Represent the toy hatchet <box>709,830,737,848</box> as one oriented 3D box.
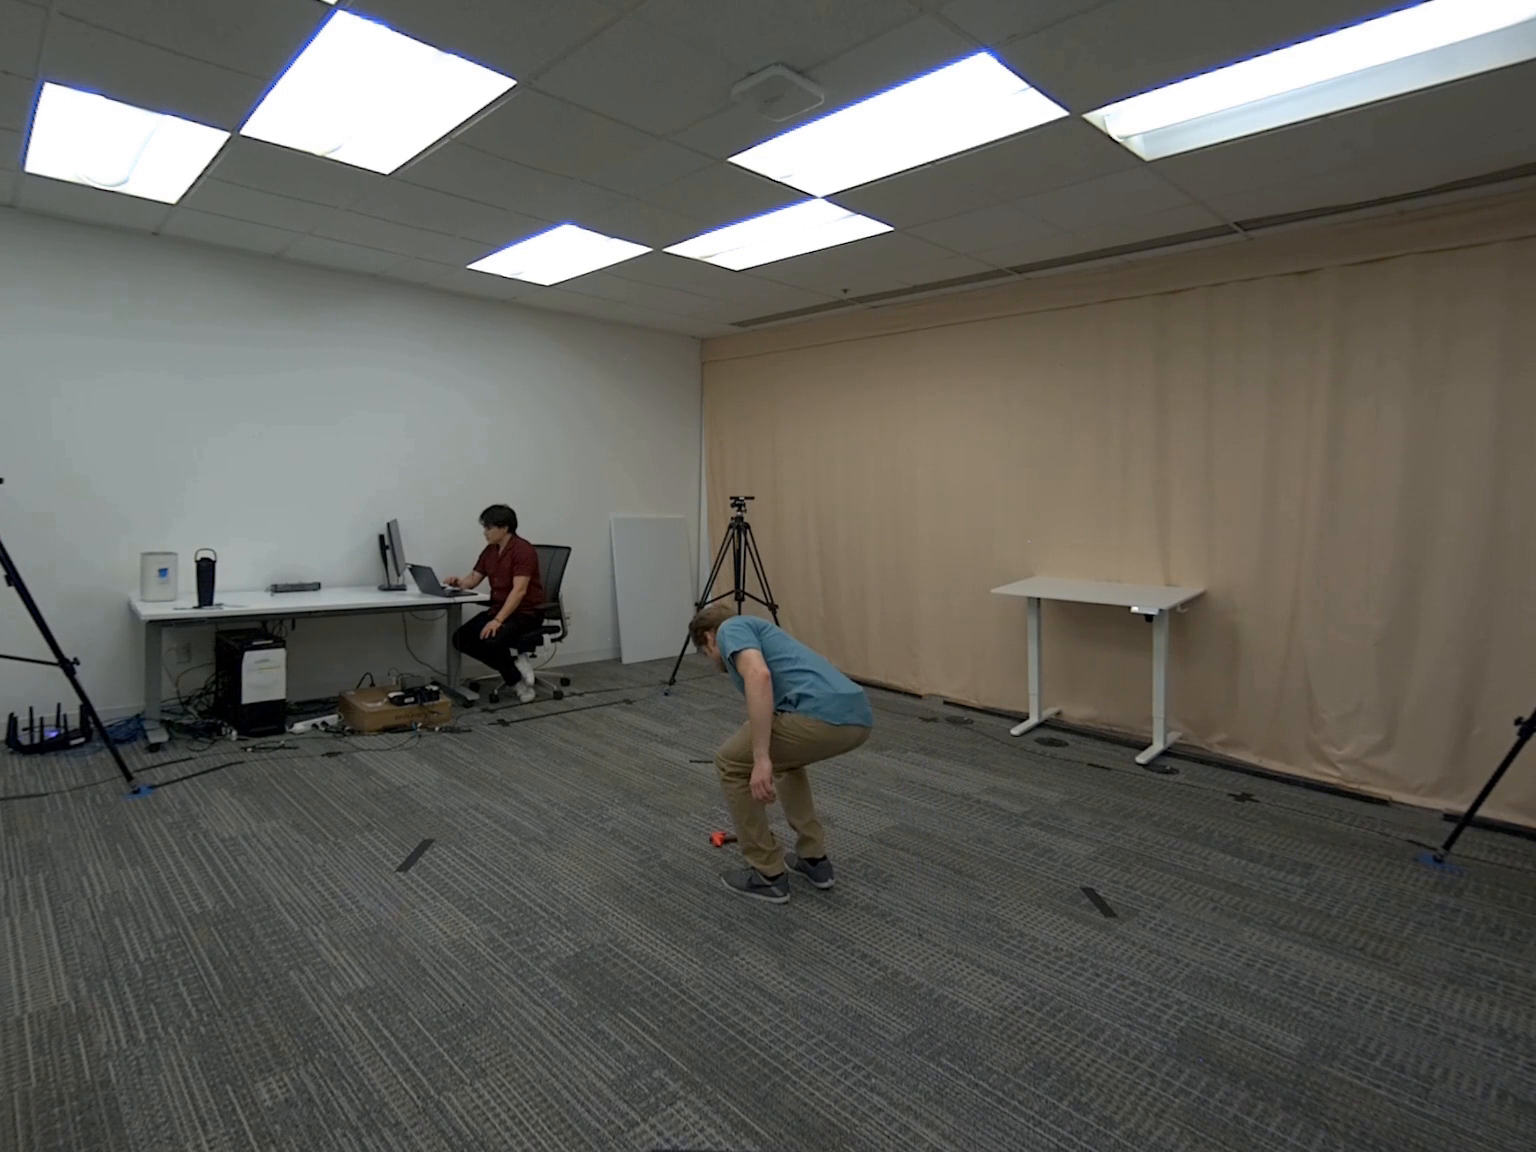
[{"bbox_3d":[-0.131,1.061,3.450,0.264,0.029,0.134,1,3,-34],"label":"toy hatchet"}]
